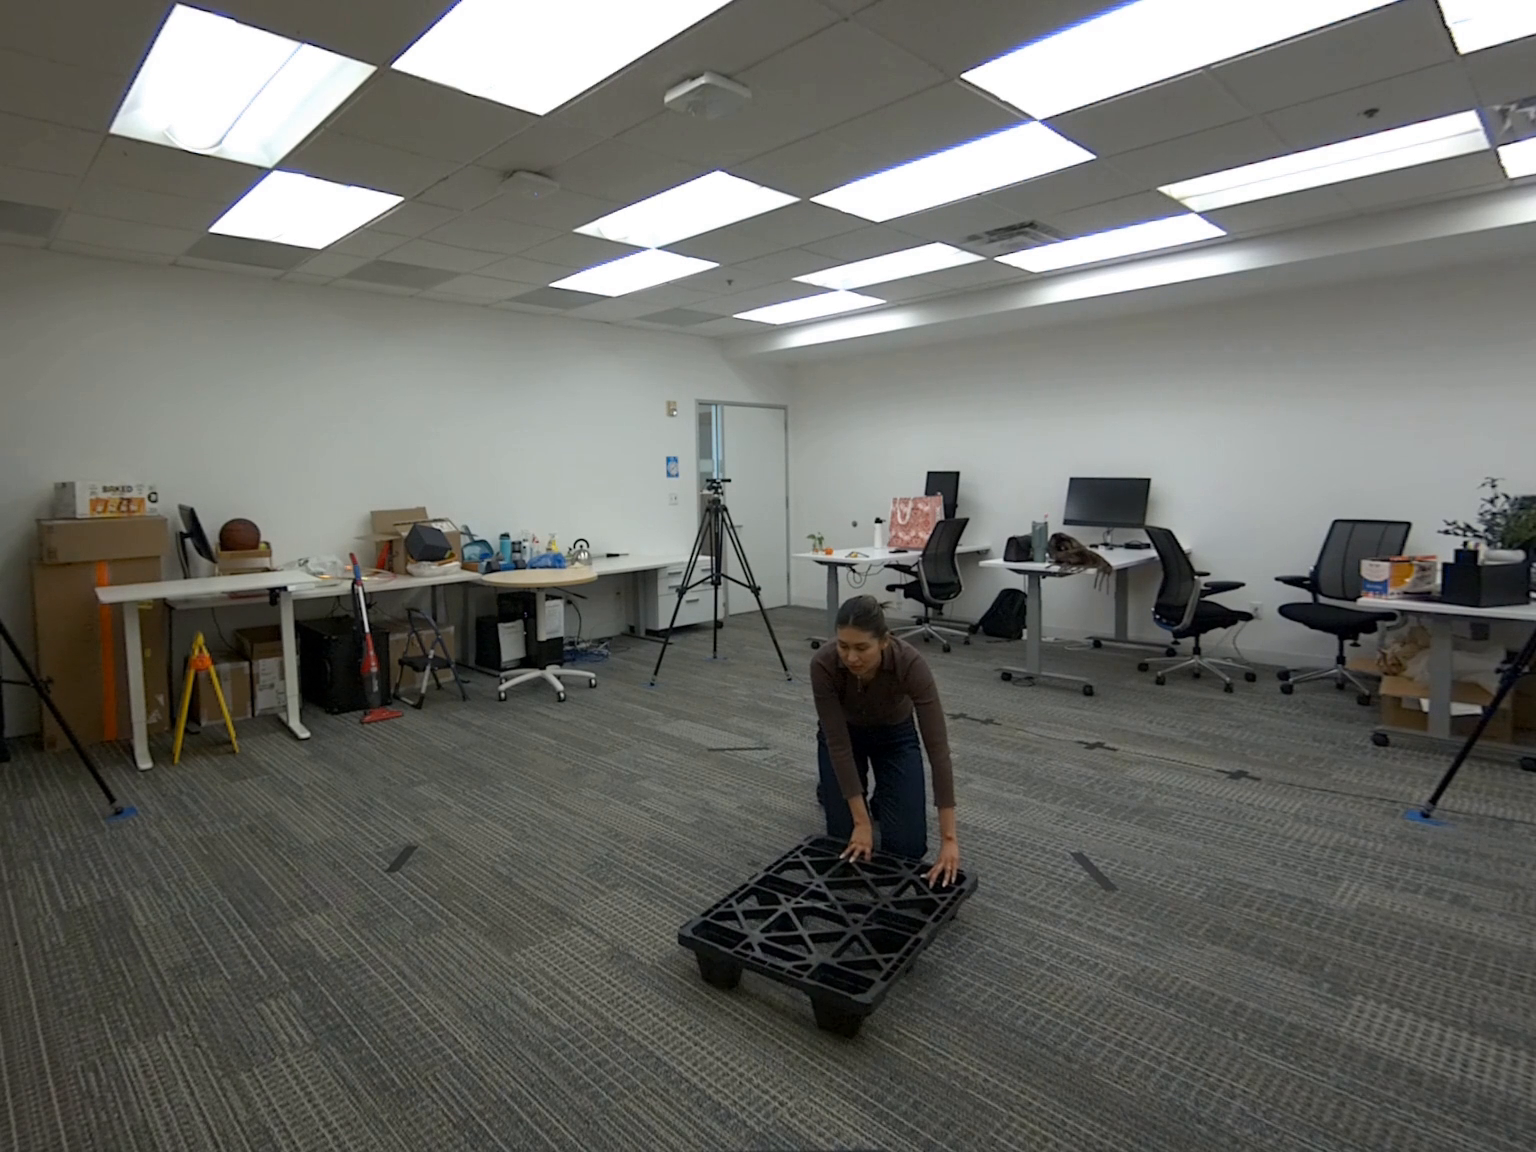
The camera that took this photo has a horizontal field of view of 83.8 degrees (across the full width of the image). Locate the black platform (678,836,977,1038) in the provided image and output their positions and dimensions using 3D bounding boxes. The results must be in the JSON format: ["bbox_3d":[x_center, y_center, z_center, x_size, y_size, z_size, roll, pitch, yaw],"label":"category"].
[{"bbox_3d":[0.213,1.040,2.553,0.622,0.142,0.787,4,8,34],"label":"black platform"}]
